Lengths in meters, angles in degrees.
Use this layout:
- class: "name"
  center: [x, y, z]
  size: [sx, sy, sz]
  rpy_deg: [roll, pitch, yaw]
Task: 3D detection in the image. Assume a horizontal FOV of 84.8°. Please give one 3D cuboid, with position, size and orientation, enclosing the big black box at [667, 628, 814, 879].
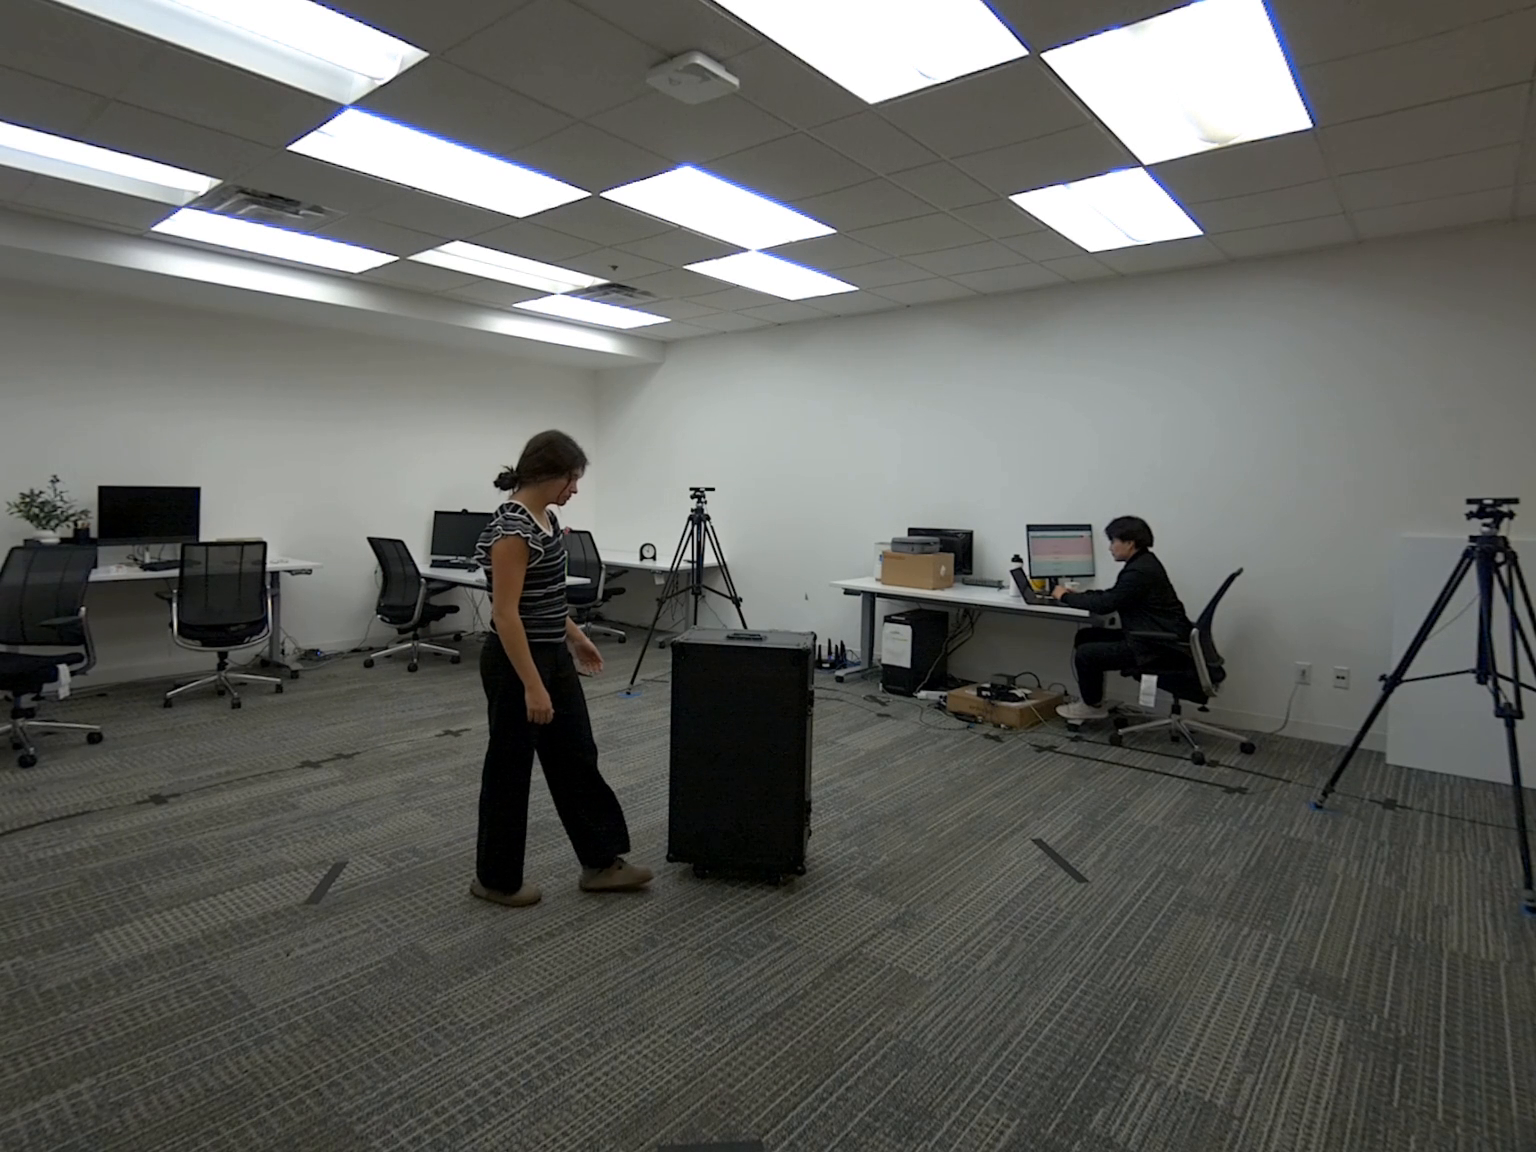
- class: "big black box"
  center: [-0.099, 0.644, 3.128]
  size: [0.527, 0.860, 0.393]
  rpy_deg: [2, 2, 8]
